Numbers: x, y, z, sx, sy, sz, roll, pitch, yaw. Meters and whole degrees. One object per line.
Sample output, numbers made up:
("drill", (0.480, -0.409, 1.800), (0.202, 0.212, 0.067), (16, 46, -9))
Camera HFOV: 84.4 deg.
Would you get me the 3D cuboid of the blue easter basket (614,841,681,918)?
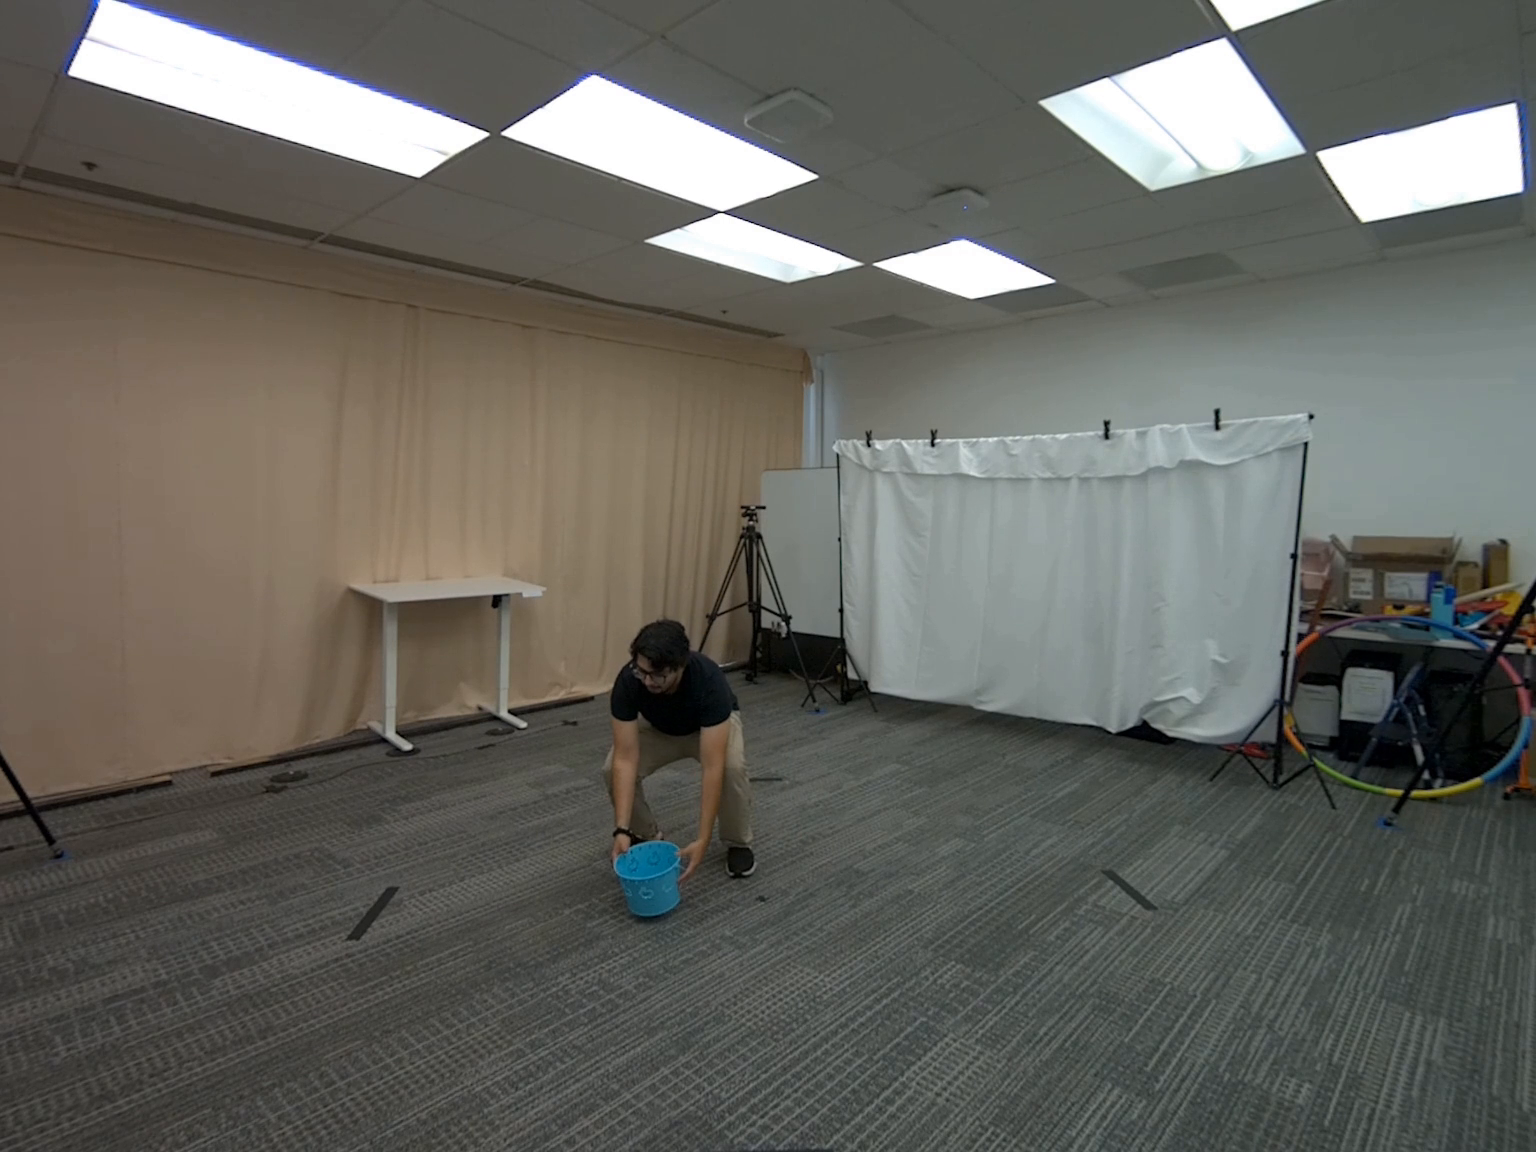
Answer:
("blue easter basket", (-0.402, 1.035, 2.864), (0.244, 0.154, 0.245), (-10, 11, 0))
